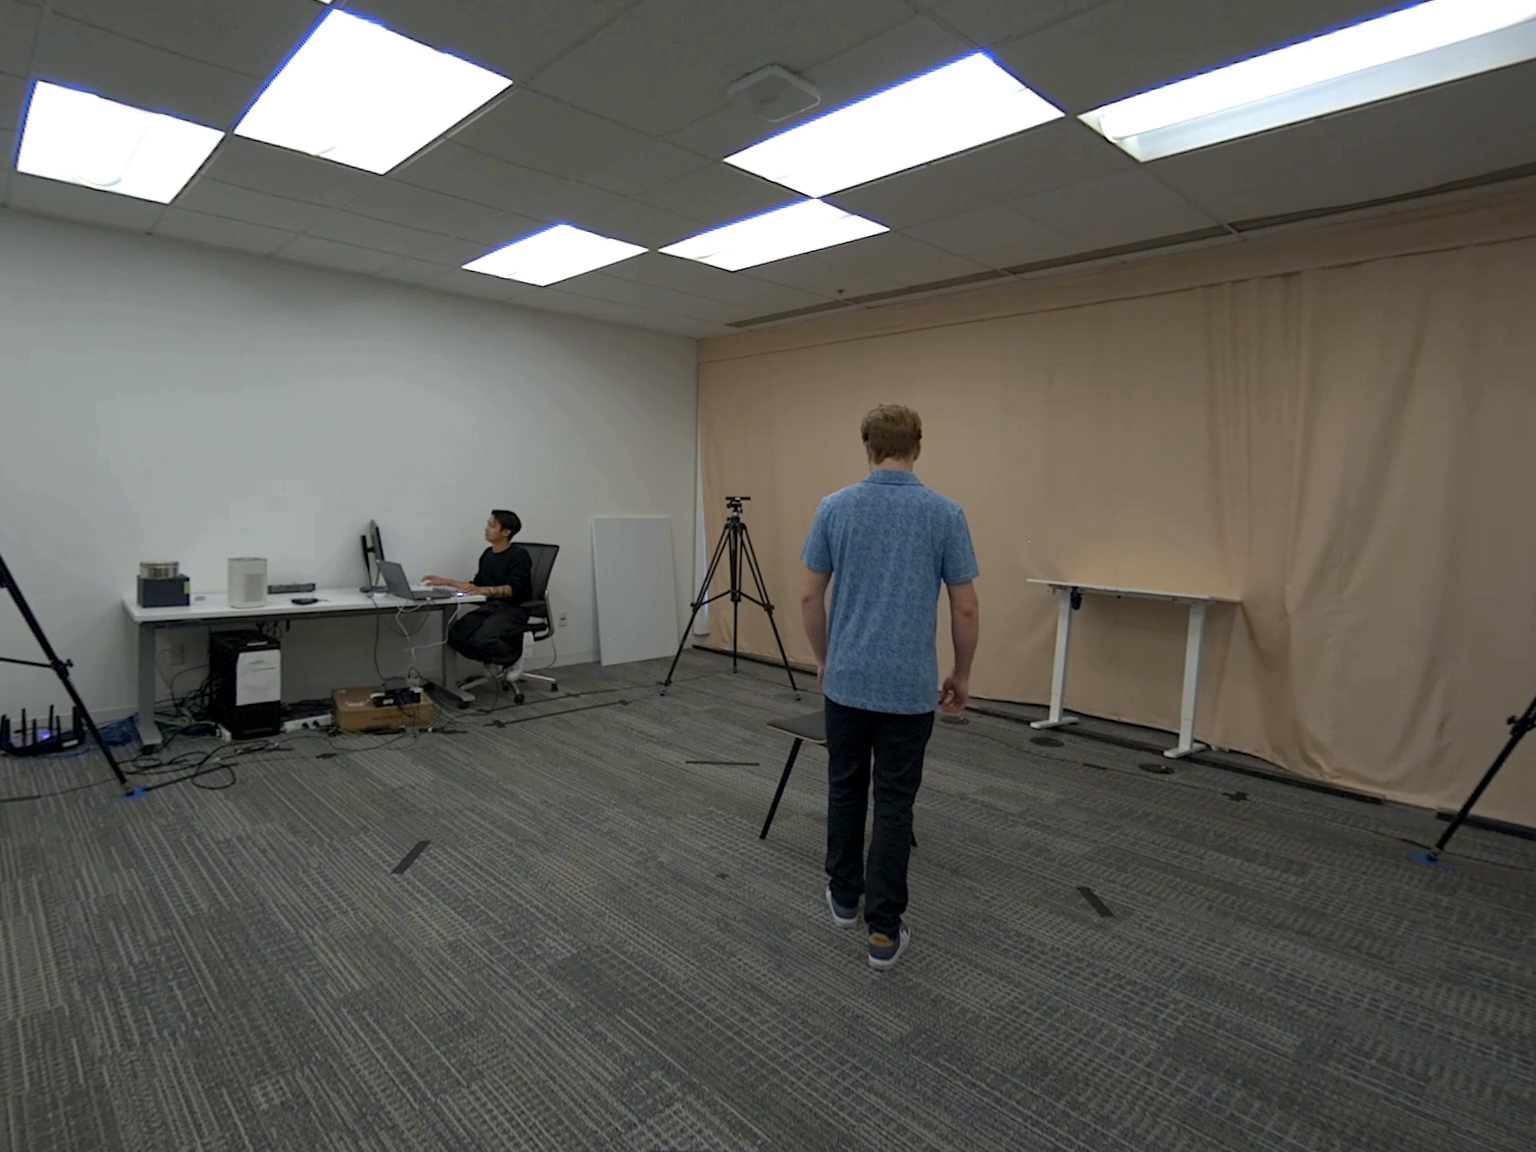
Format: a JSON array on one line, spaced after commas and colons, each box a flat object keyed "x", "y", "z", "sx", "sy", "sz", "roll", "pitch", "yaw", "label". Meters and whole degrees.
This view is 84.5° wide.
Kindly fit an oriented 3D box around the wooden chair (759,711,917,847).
[{"x": 0.285, "y": 0.664, "z": 3.411, "sx": 0.467, "sy": 0.874, "sz": 0.537, "roll": -1, "pitch": 9, "yaw": -44, "label": "wooden chair"}]
